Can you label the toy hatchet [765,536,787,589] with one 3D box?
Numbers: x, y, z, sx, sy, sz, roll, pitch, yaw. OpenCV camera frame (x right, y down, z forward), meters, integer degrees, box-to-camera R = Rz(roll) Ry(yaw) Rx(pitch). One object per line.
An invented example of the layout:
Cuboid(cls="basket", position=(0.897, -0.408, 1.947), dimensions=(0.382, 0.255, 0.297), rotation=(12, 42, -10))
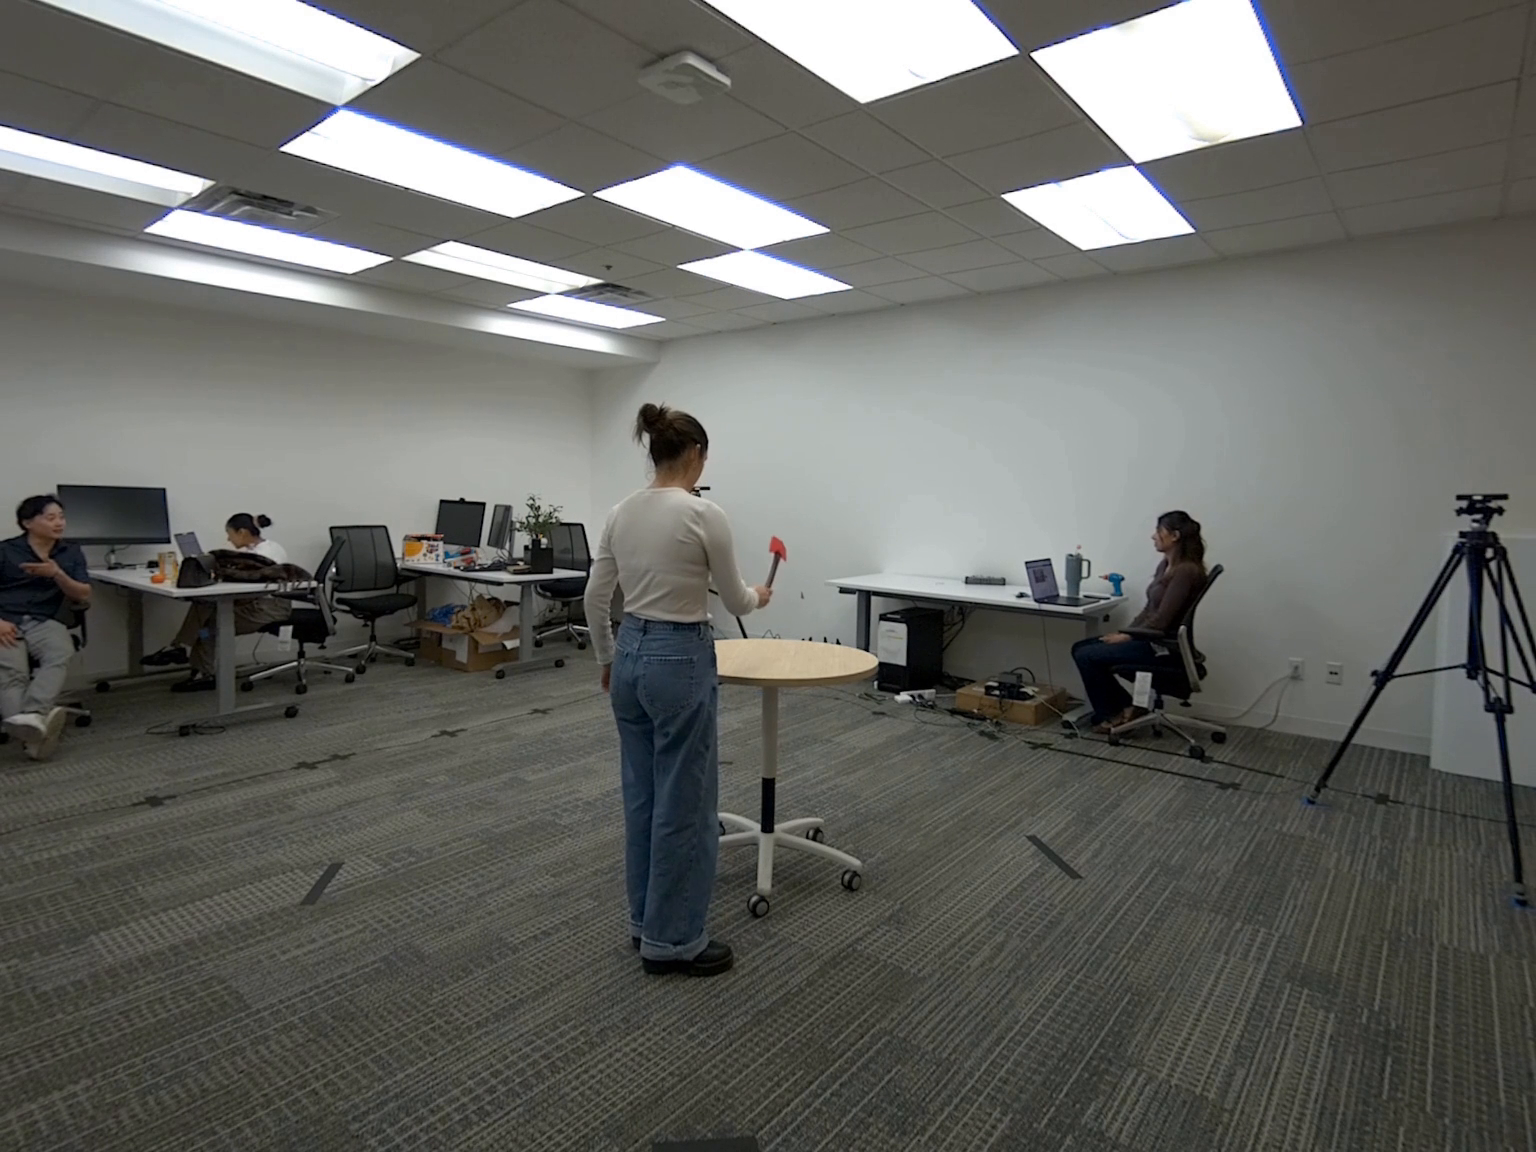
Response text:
Cuboid(cls="toy hatchet", position=(-0.010, -0.037, 2.857), dimensions=(0.030, 0.127, 0.272), rotation=(1, 34, 20))
